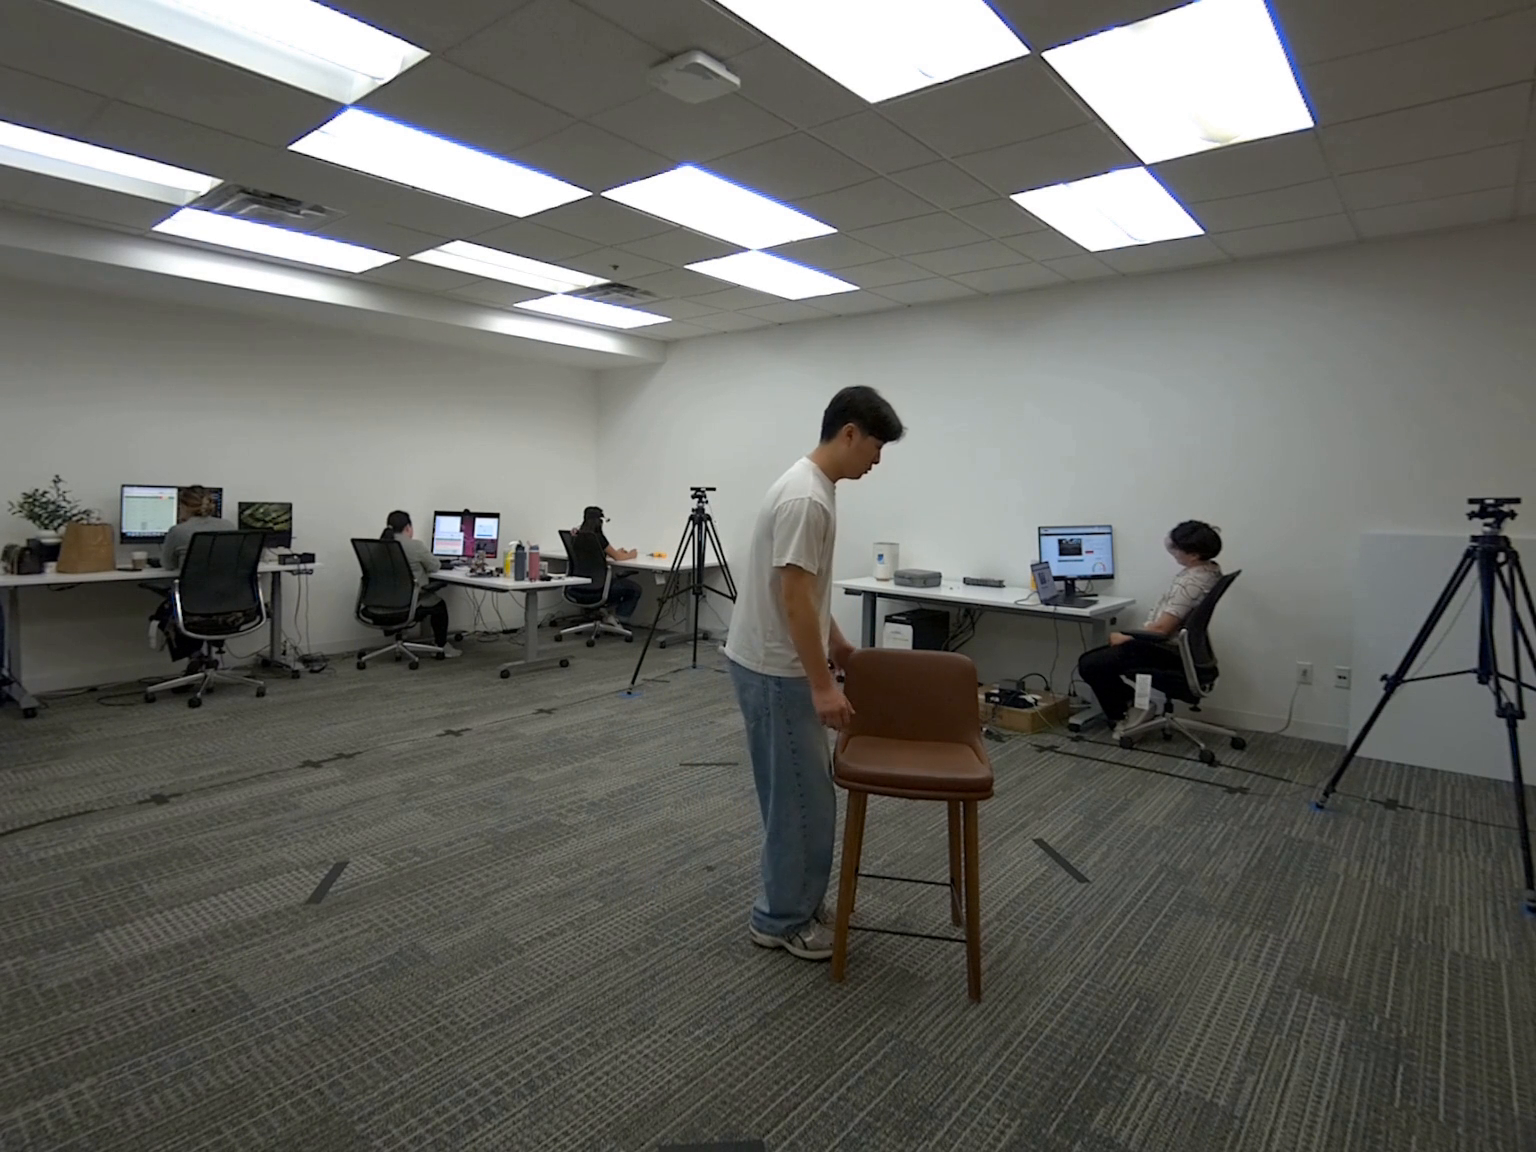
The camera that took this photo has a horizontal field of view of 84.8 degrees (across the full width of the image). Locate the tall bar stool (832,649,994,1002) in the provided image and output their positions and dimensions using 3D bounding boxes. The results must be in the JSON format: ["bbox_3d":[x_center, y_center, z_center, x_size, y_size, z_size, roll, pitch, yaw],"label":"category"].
[{"bbox_3d":[0.424,0.703,2.560,0.462,0.889,0.463,3,2,10],"label":"tall bar stool"}]
